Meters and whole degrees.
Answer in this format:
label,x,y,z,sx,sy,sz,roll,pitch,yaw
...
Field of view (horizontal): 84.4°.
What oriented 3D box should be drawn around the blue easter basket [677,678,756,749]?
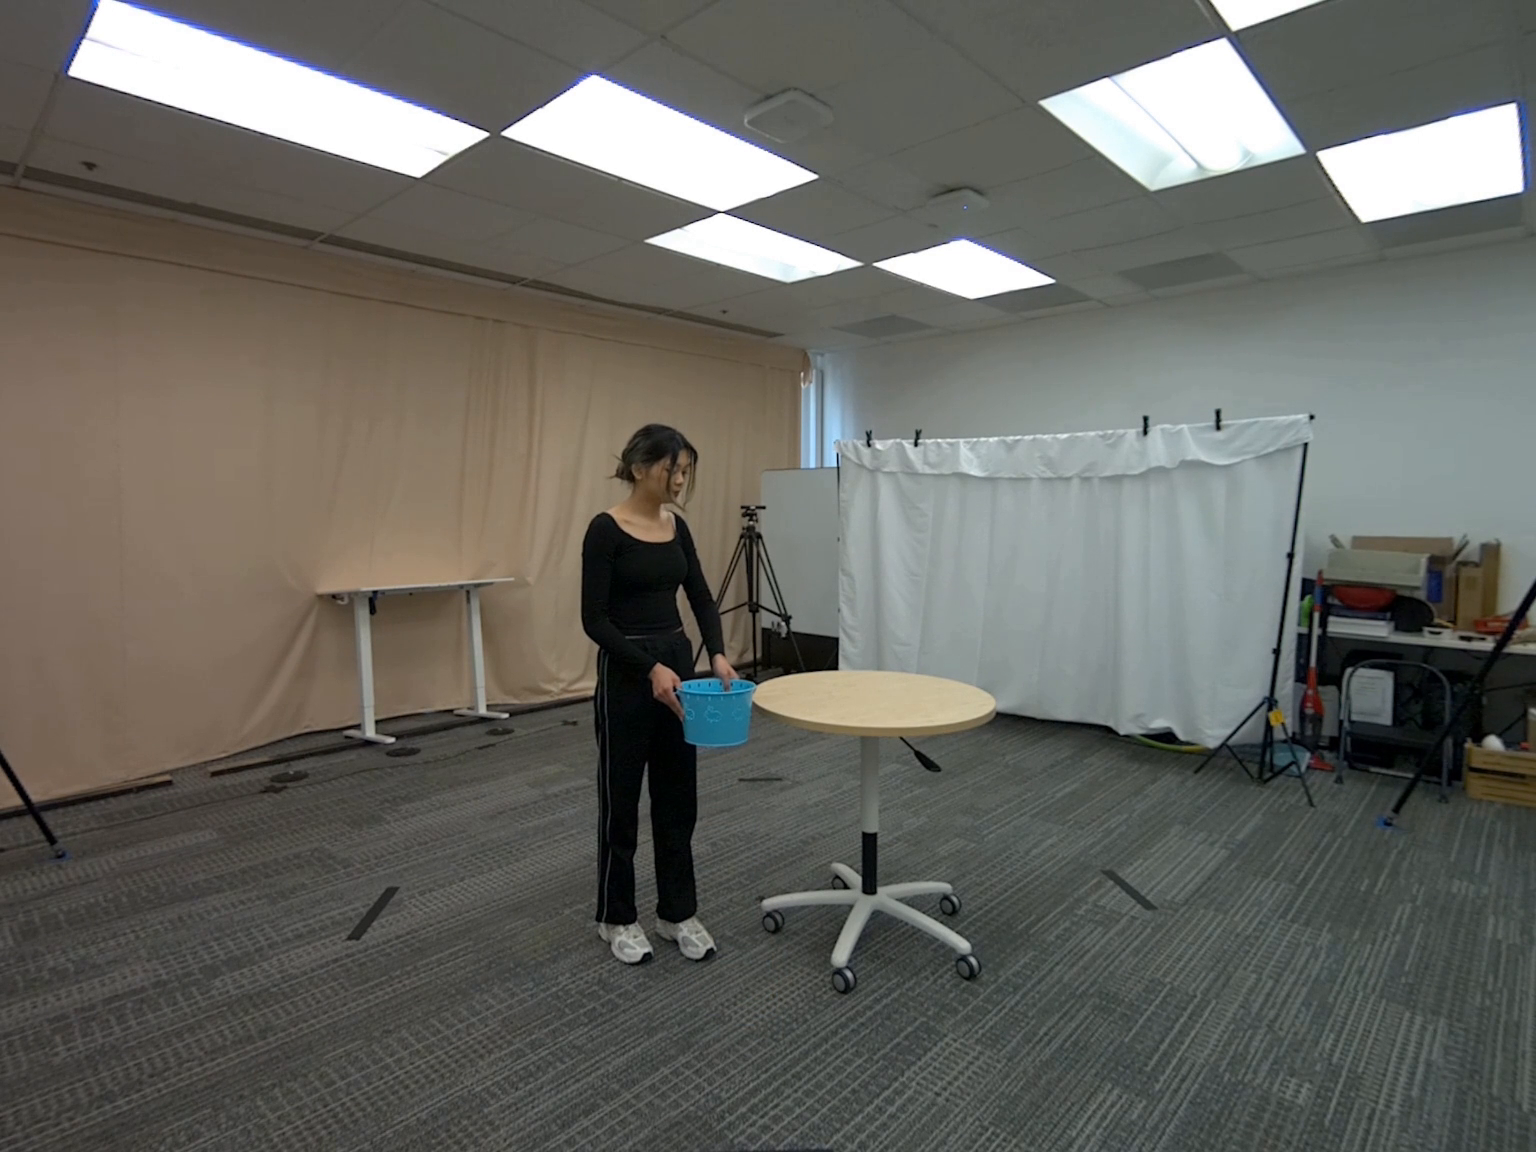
label,x,y,z,sx,sy,sz,roll,pitch,yaw
blue easter basket,-0.158,0.391,2.388,0.243,0.155,0.244,-1,3,-2
